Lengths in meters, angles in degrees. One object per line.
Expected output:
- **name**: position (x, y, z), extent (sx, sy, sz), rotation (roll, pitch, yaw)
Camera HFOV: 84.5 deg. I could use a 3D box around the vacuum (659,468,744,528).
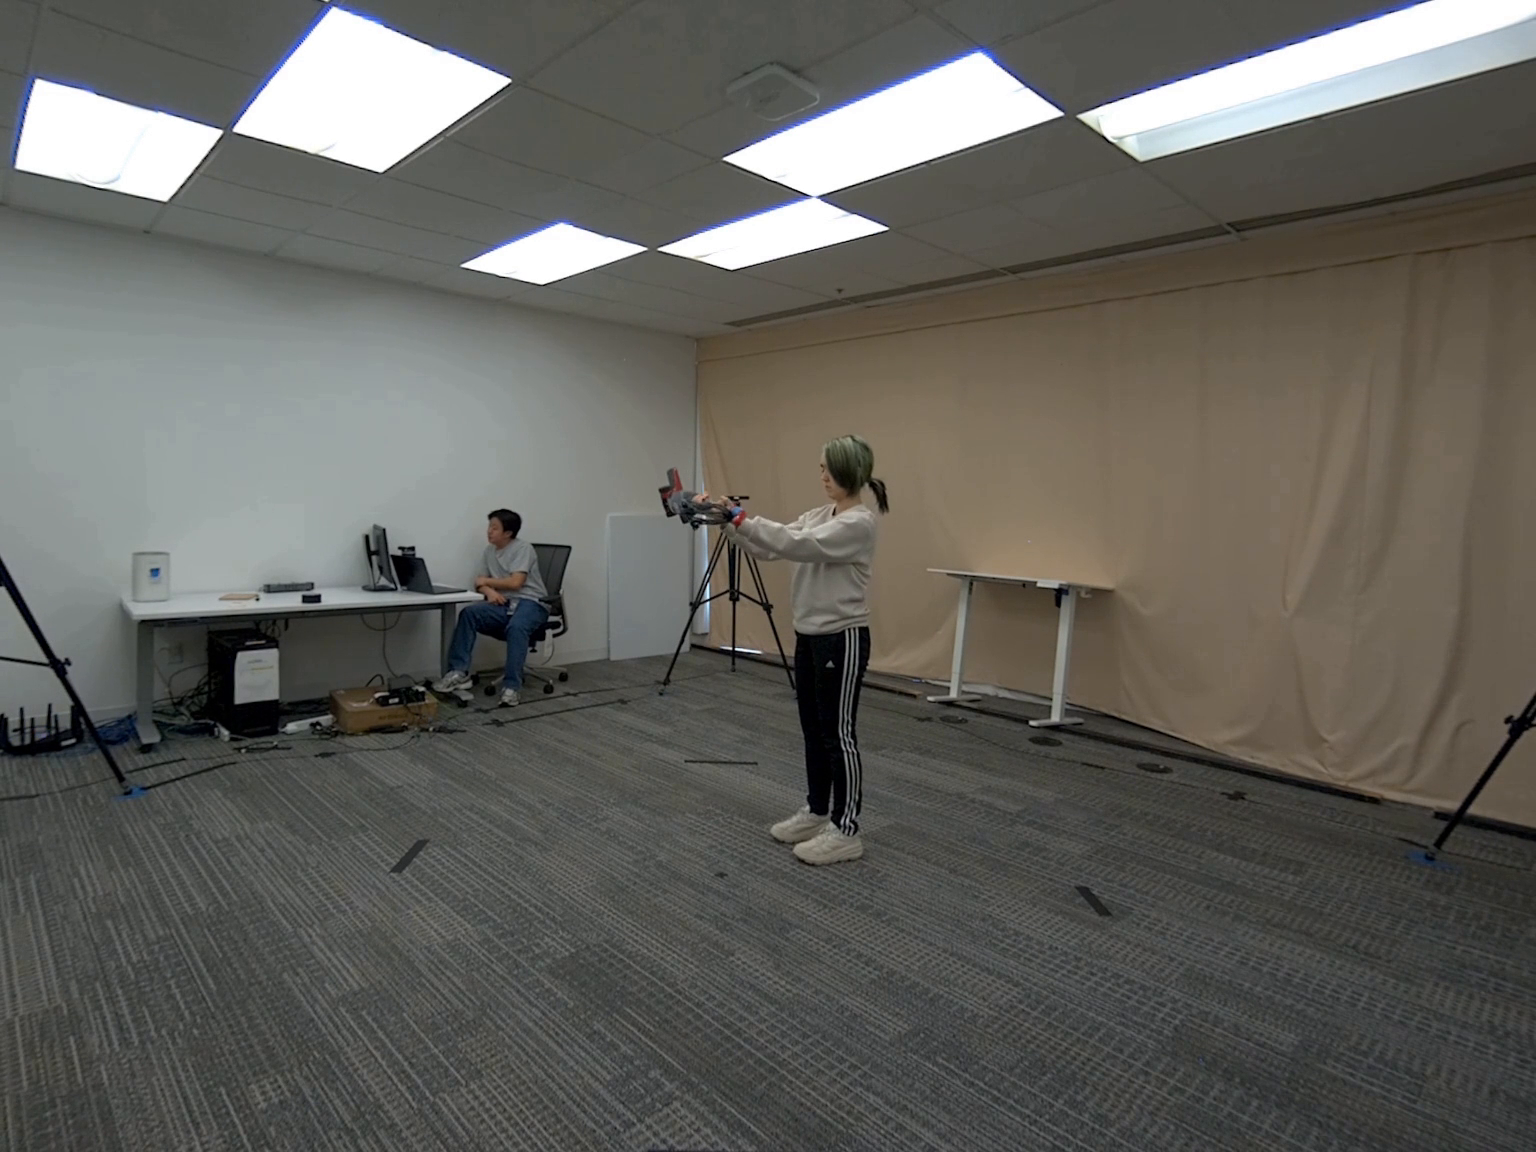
- **vacuum**: position (-0.259, -0.257, 3.214), extent (0.143, 0.249, 1.068), rotation (-20, 14, -13)
